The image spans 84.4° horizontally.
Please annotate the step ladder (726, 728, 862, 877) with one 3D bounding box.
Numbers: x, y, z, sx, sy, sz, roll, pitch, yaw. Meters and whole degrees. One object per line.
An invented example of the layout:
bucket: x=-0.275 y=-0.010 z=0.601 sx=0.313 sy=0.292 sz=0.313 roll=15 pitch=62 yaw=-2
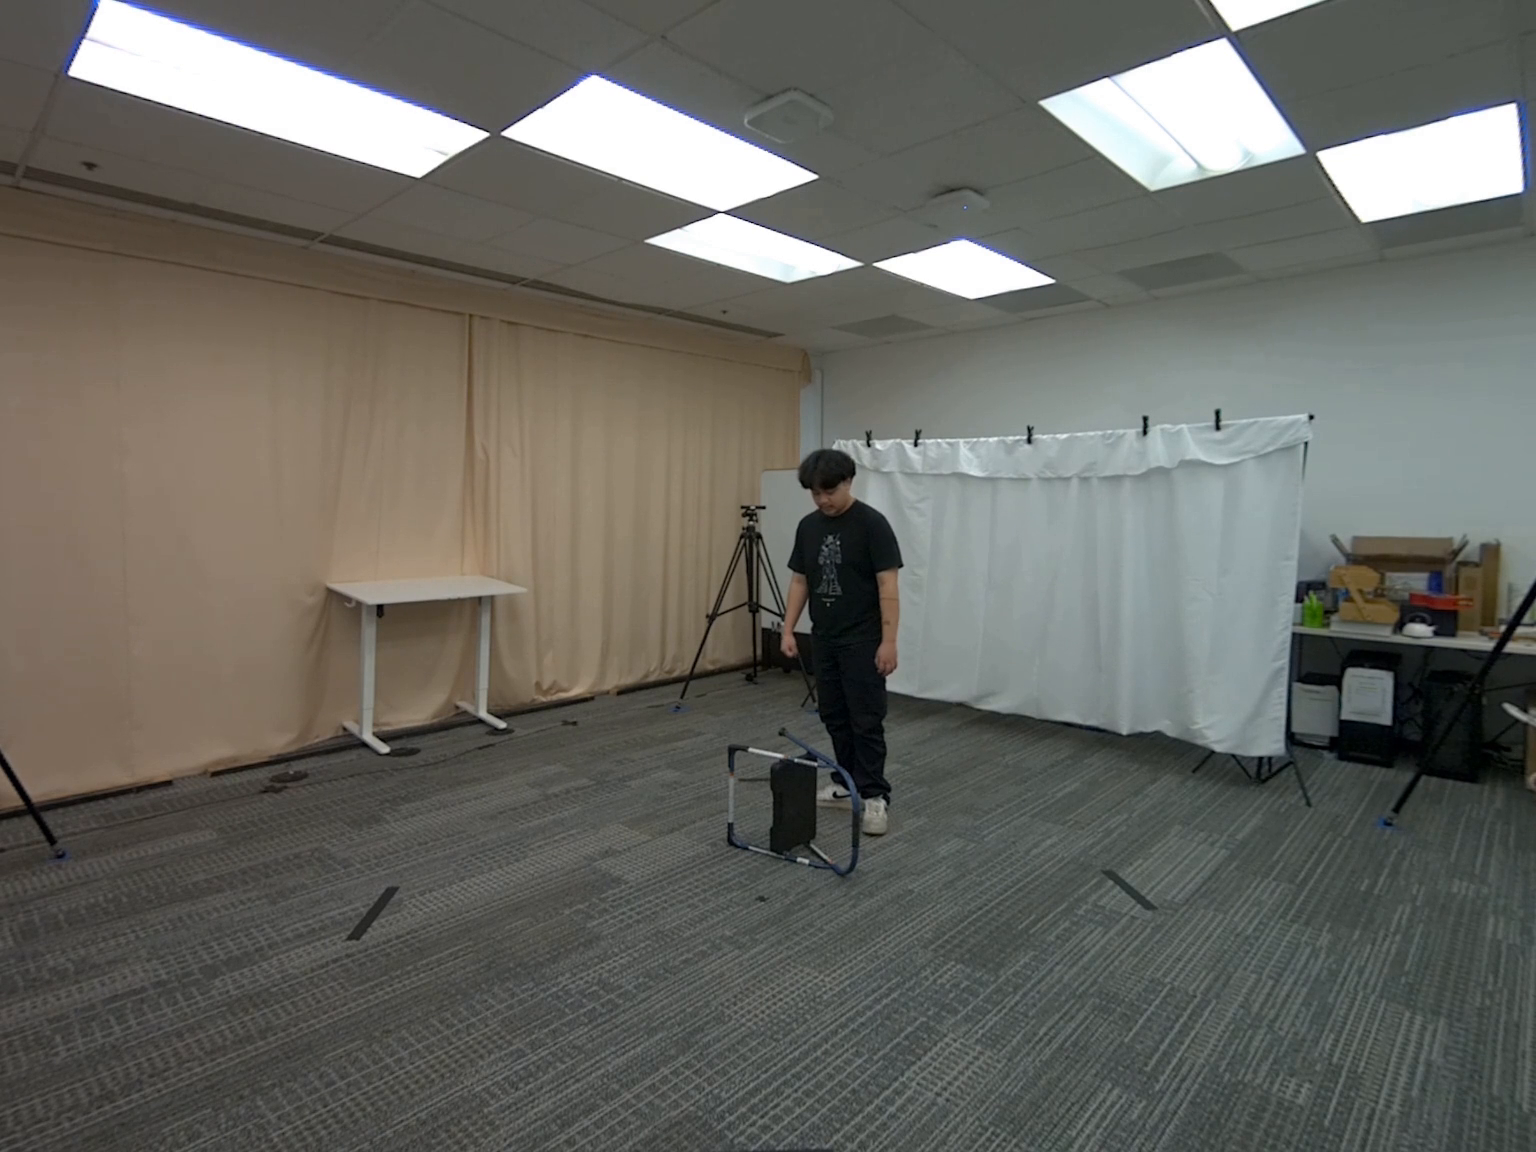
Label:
step ladder: x=0.162 y=0.901 z=3.332 sx=0.339 sy=0.429 sz=0.626 roll=-4 pitch=6 yaw=-43
